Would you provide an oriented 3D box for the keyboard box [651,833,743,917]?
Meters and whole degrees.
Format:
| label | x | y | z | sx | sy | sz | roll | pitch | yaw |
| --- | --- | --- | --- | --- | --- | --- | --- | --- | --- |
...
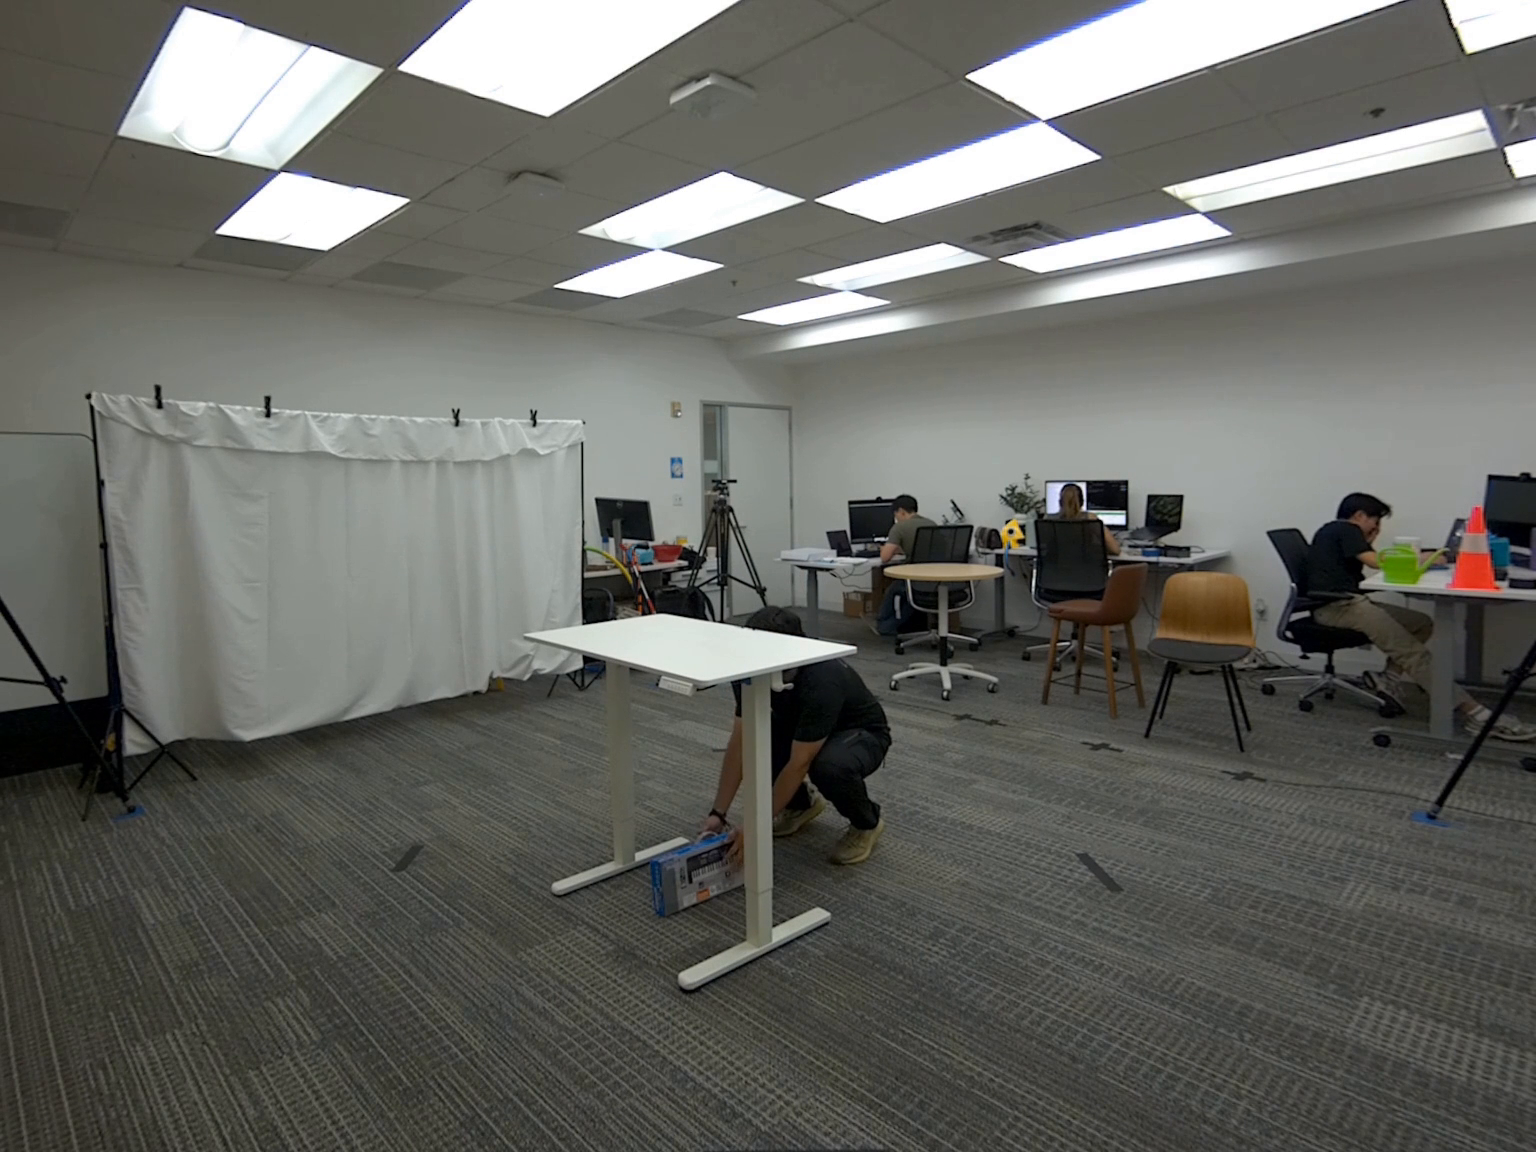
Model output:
| label | x | y | z | sx | sy | sz | roll | pitch | yaw |
| --- | --- | --- | --- | --- | --- | --- | --- | --- | --- |
| keyboard box | -0.193 | 0.988 | 2.889 | 0.425 | 0.176 | 0.060 | -6 | -1 | -40 |
